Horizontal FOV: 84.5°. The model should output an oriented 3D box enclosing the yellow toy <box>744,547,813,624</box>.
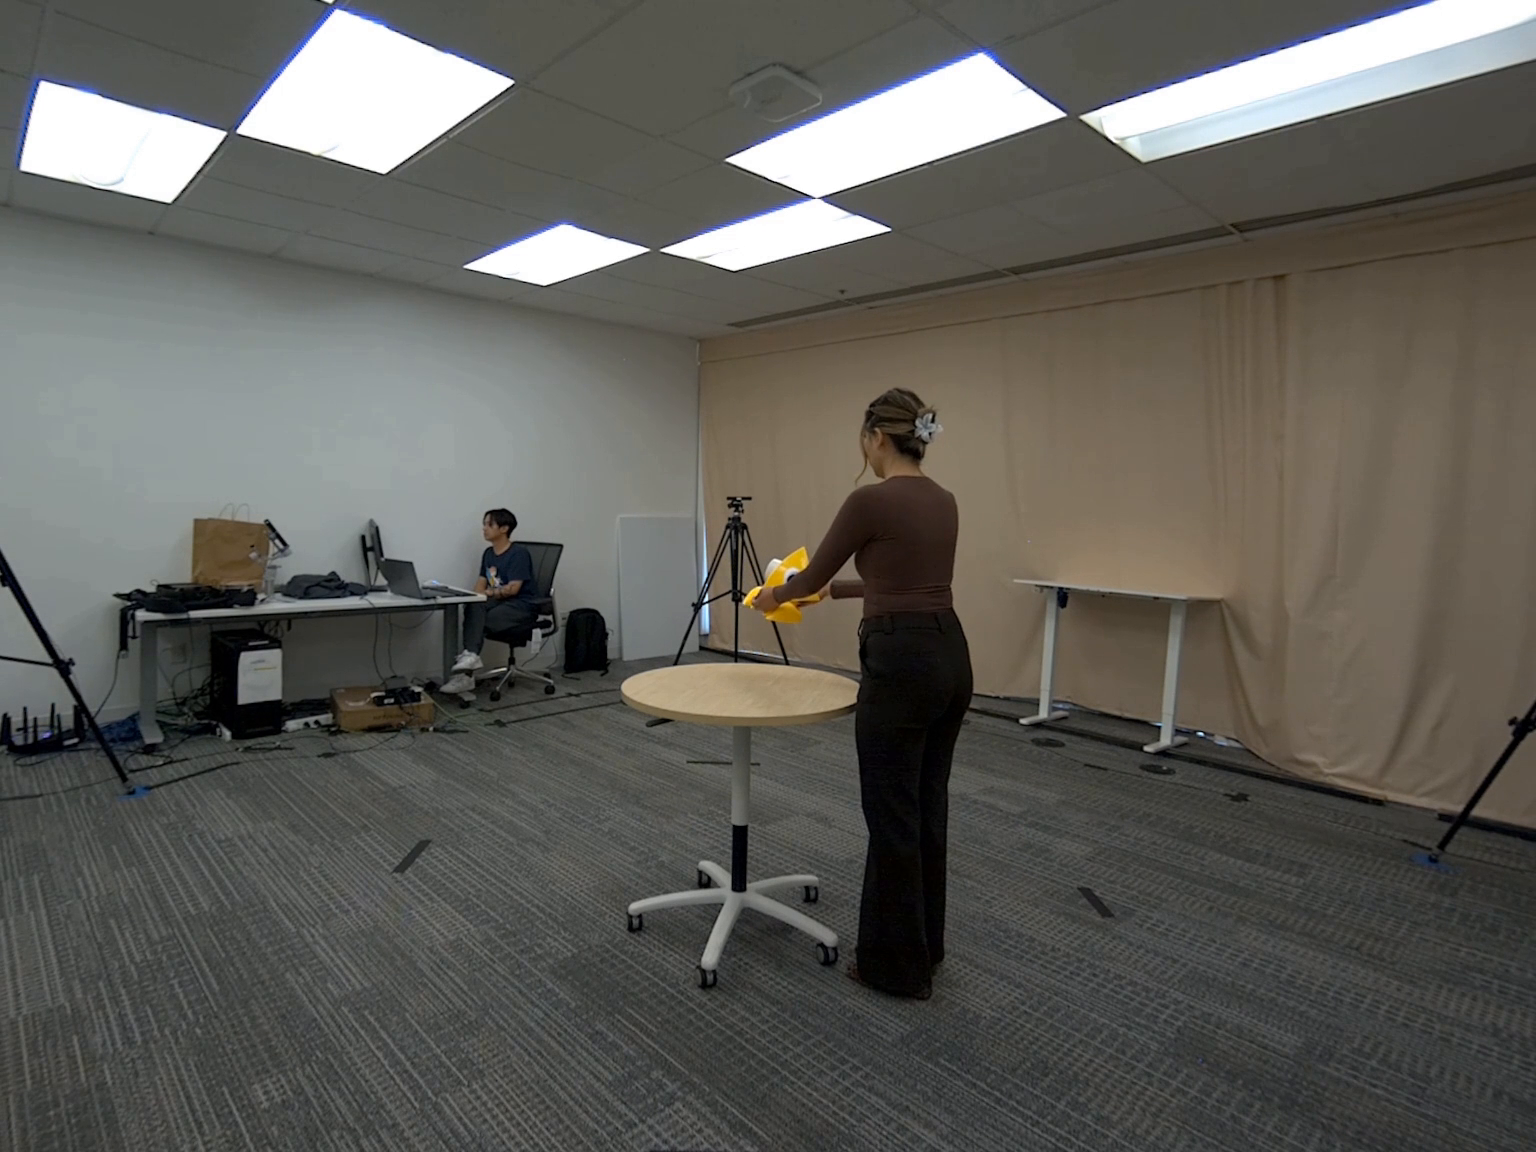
[{"bbox_3d":[0.050,0.011,2.814,0.188,0.229,0.211,1,19,-40],"label":"yellow toy"}]
